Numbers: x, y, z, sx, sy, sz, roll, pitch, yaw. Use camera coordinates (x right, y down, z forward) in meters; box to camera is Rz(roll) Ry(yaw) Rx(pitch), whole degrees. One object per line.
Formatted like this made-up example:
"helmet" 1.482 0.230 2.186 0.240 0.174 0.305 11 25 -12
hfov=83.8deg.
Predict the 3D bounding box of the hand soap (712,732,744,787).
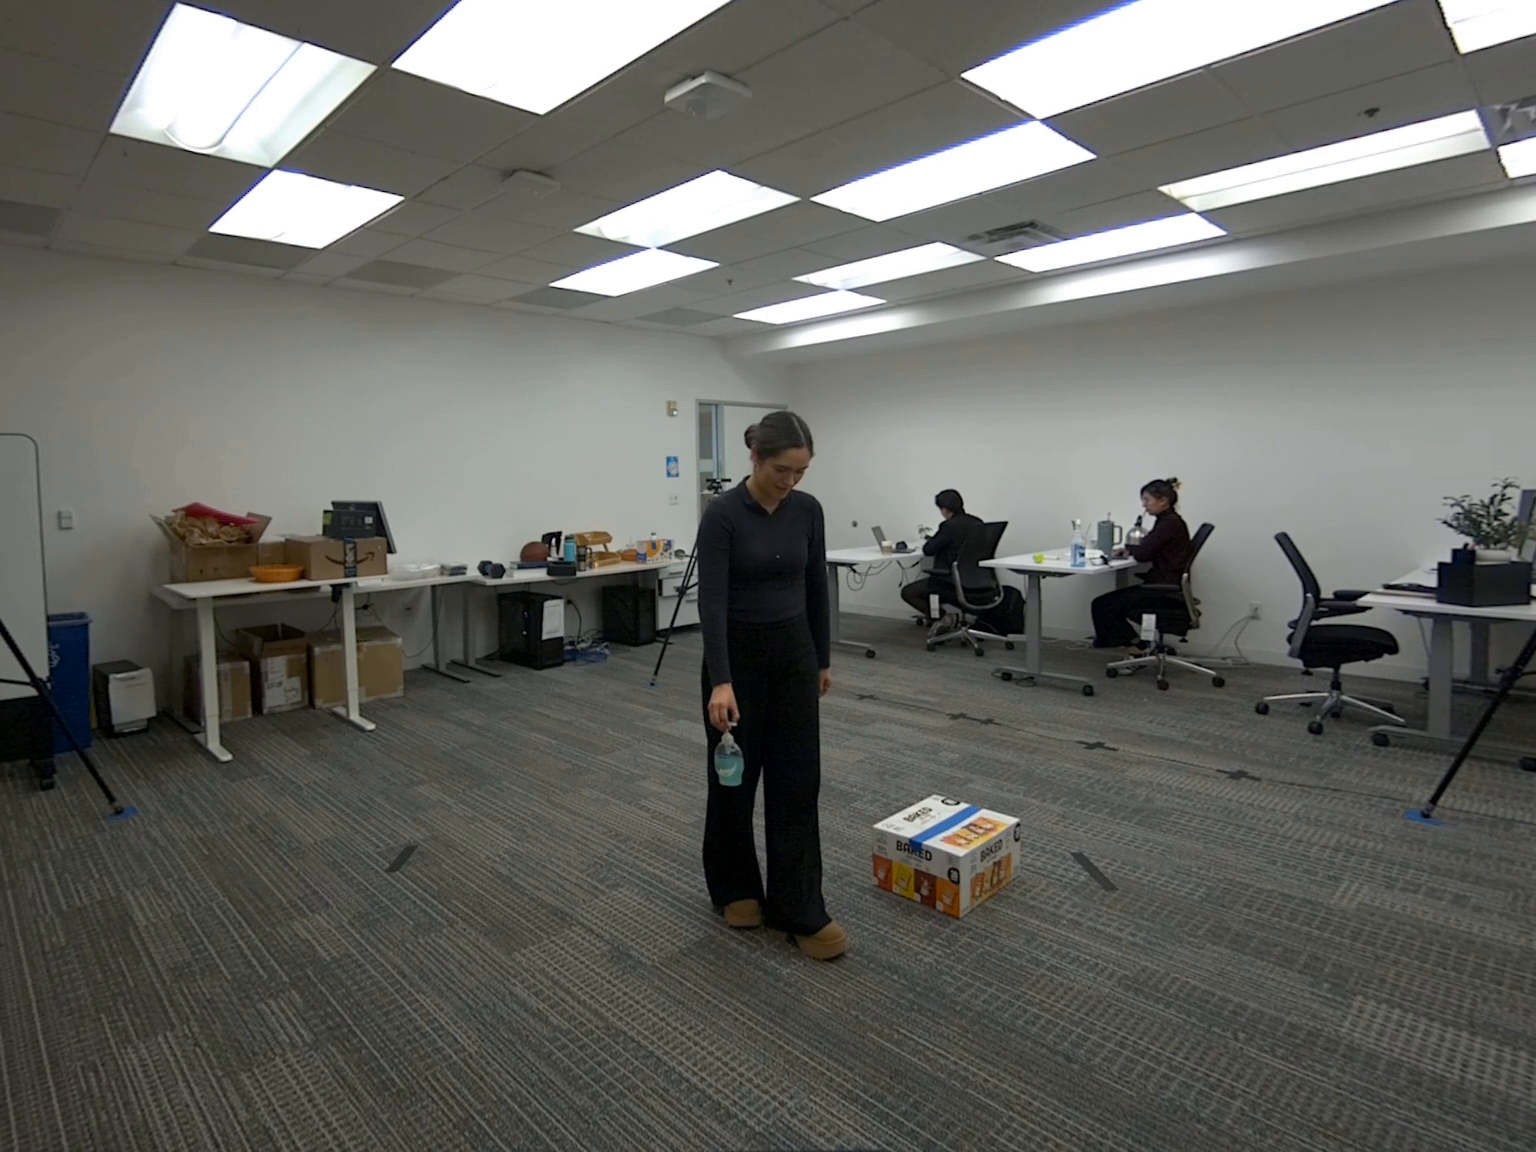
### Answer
"hand soap" -0.100 0.482 2.325 0.085 0.168 0.043 -11 1 15
